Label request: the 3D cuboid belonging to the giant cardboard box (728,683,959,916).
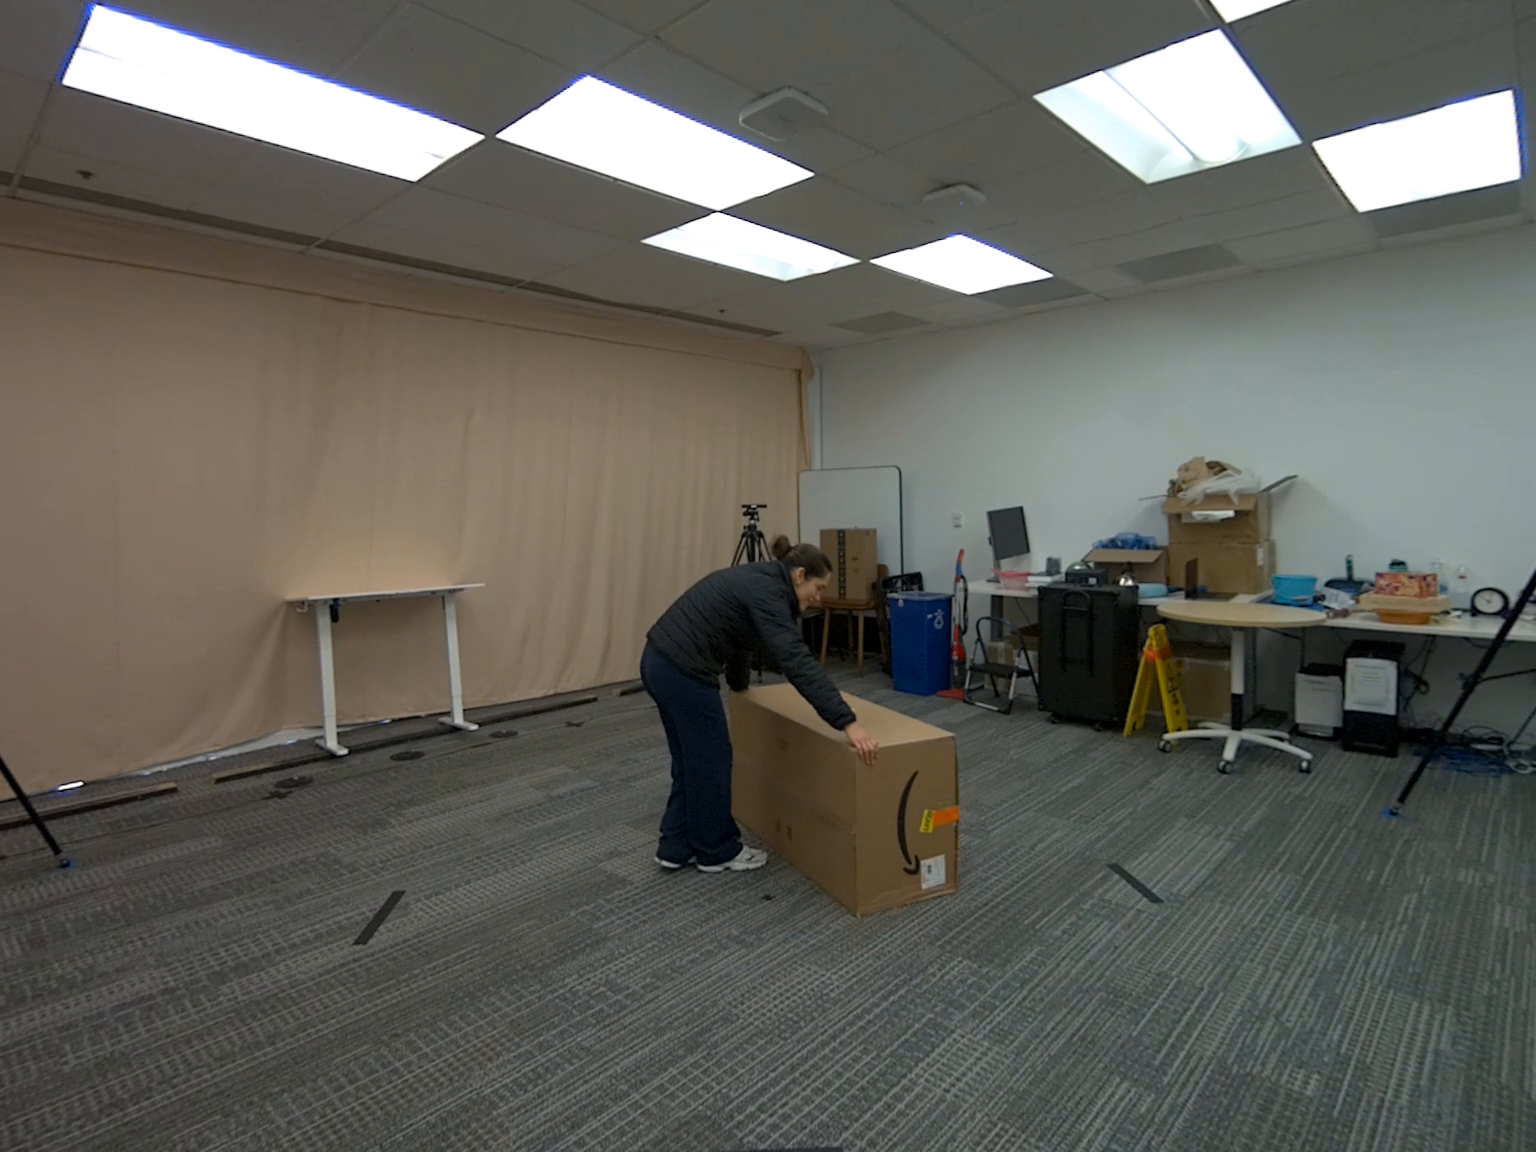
[{"bbox_3d":[0.266,0.813,3.366,0.436,0.582,1.055,-2,5,-27],"label":"giant cardboard box"}]
